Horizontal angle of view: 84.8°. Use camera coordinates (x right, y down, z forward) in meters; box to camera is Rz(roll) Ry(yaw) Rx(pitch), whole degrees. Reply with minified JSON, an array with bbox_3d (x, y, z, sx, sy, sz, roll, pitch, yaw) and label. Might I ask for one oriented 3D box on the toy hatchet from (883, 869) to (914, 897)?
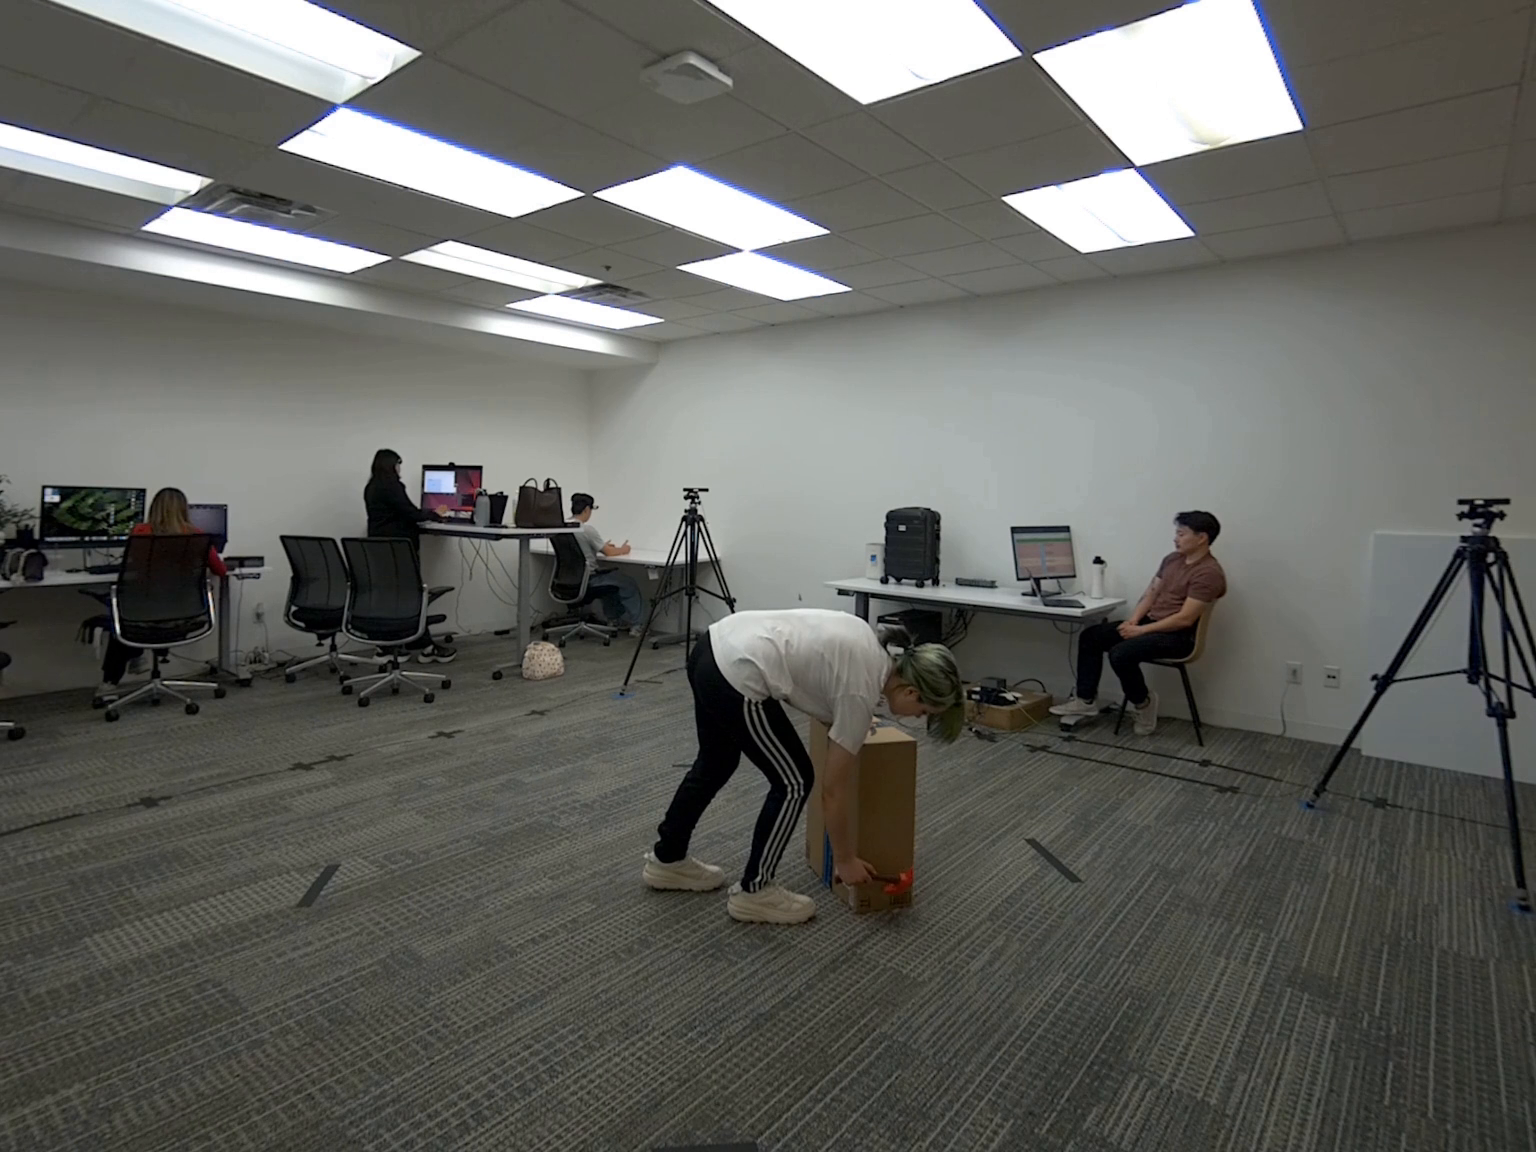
[{"bbox_3d":[0.344,1.008,2.795,0.270,0.127,0.030,-2,33,-1],"label":"toy hatchet"}]
